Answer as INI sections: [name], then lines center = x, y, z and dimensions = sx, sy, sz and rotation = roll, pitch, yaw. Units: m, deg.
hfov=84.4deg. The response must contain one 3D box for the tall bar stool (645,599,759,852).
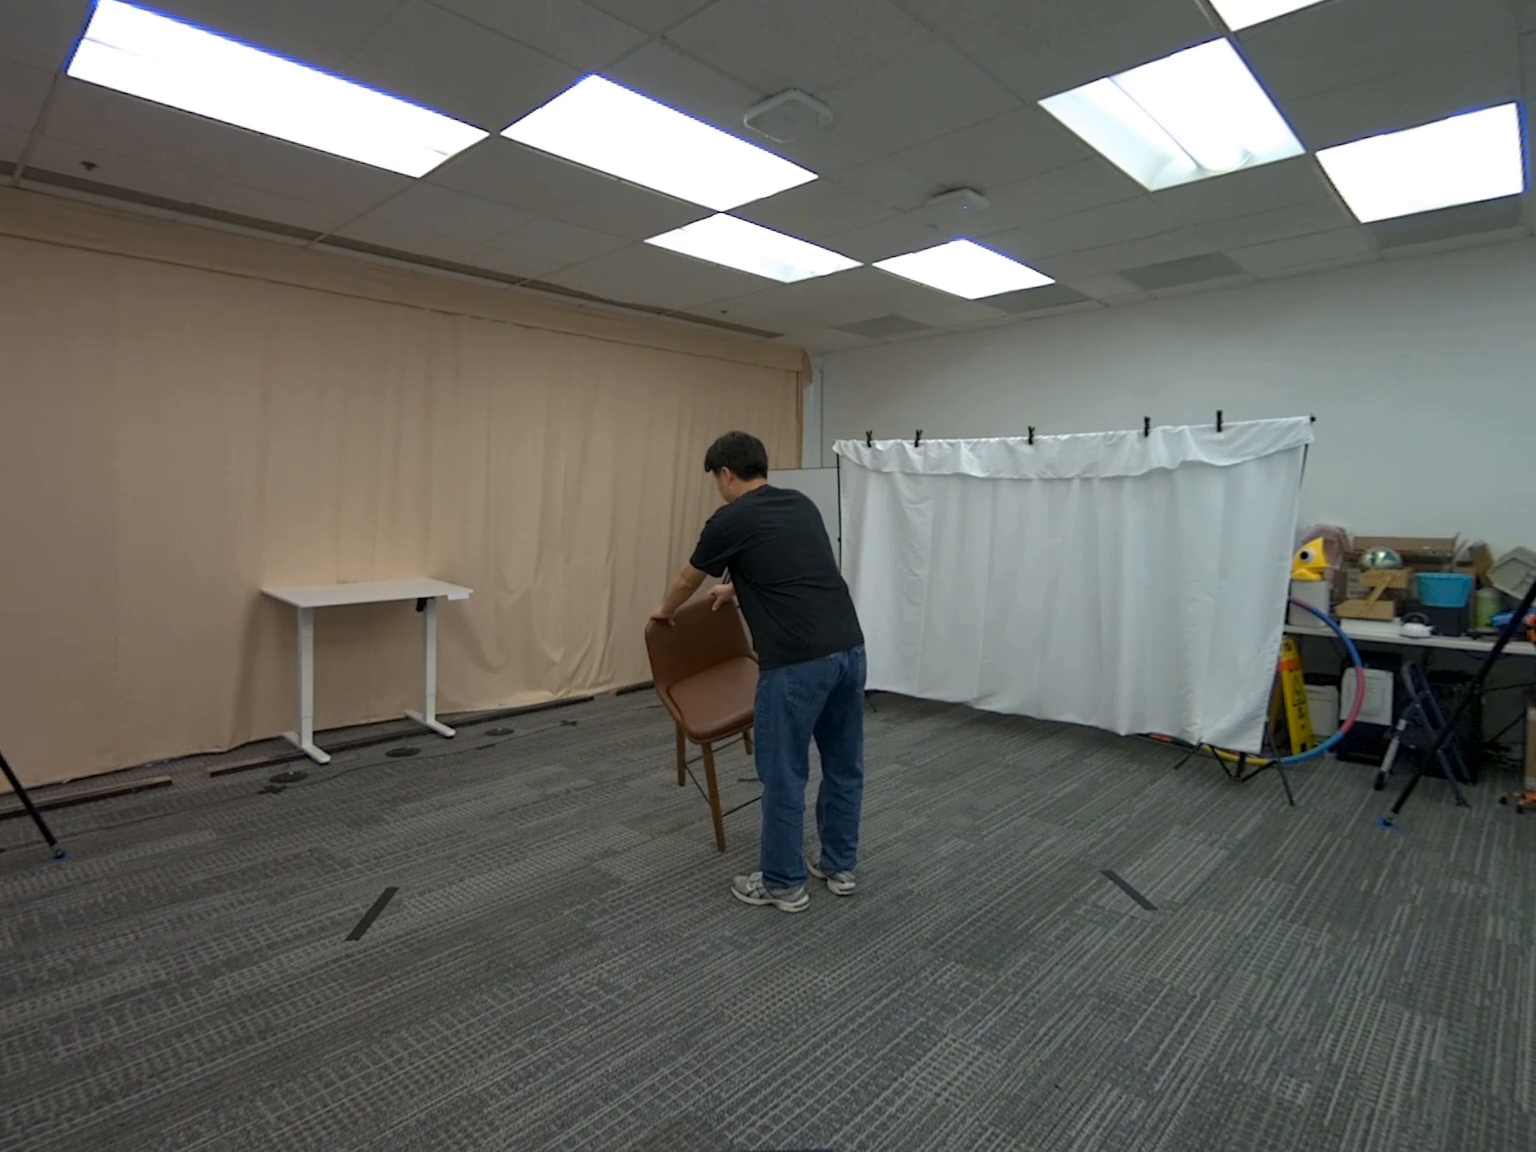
[tall bar stool]
center = -0.174, 0.583, 3.436
dimensions = 0.449, 0.873, 0.484
rotation = -20, 30, -22
